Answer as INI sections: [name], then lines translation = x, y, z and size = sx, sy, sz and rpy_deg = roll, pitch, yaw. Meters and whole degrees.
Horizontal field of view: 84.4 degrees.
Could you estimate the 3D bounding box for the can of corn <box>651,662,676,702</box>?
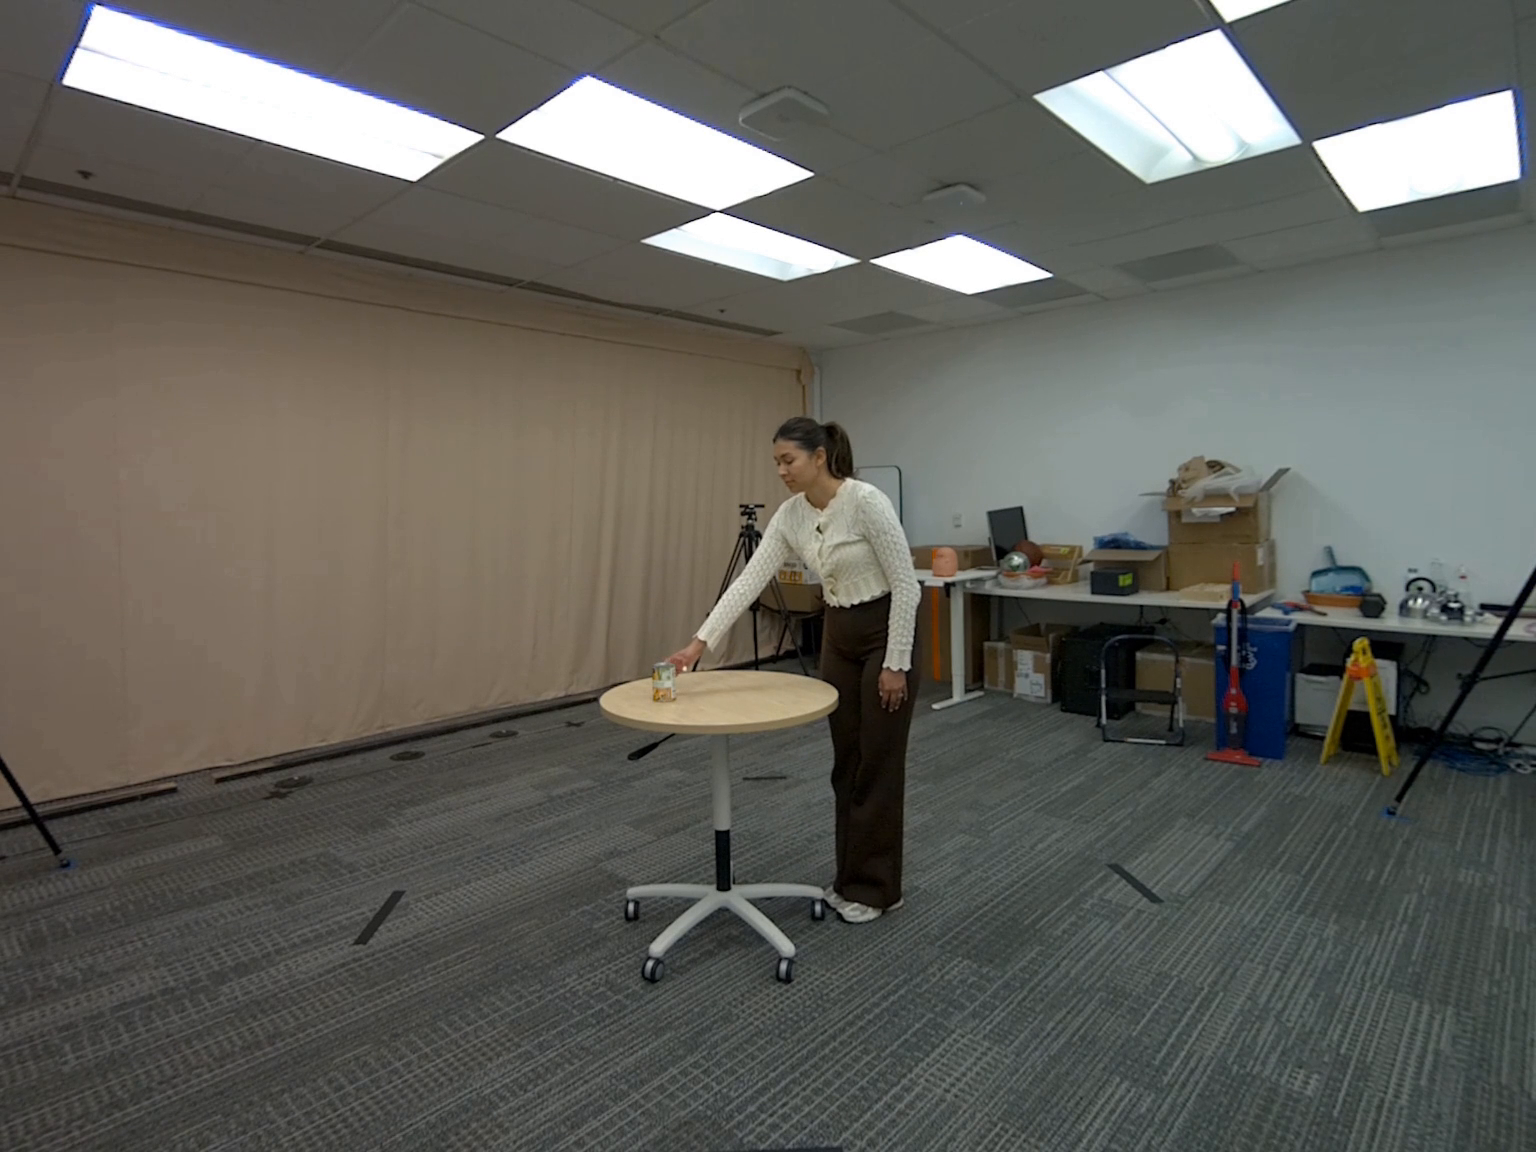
[can of corn]
translation = -0.322, 0.337, 2.661
size = 0.074, 0.111, 0.074
rpy_deg = 0, 0, -2
